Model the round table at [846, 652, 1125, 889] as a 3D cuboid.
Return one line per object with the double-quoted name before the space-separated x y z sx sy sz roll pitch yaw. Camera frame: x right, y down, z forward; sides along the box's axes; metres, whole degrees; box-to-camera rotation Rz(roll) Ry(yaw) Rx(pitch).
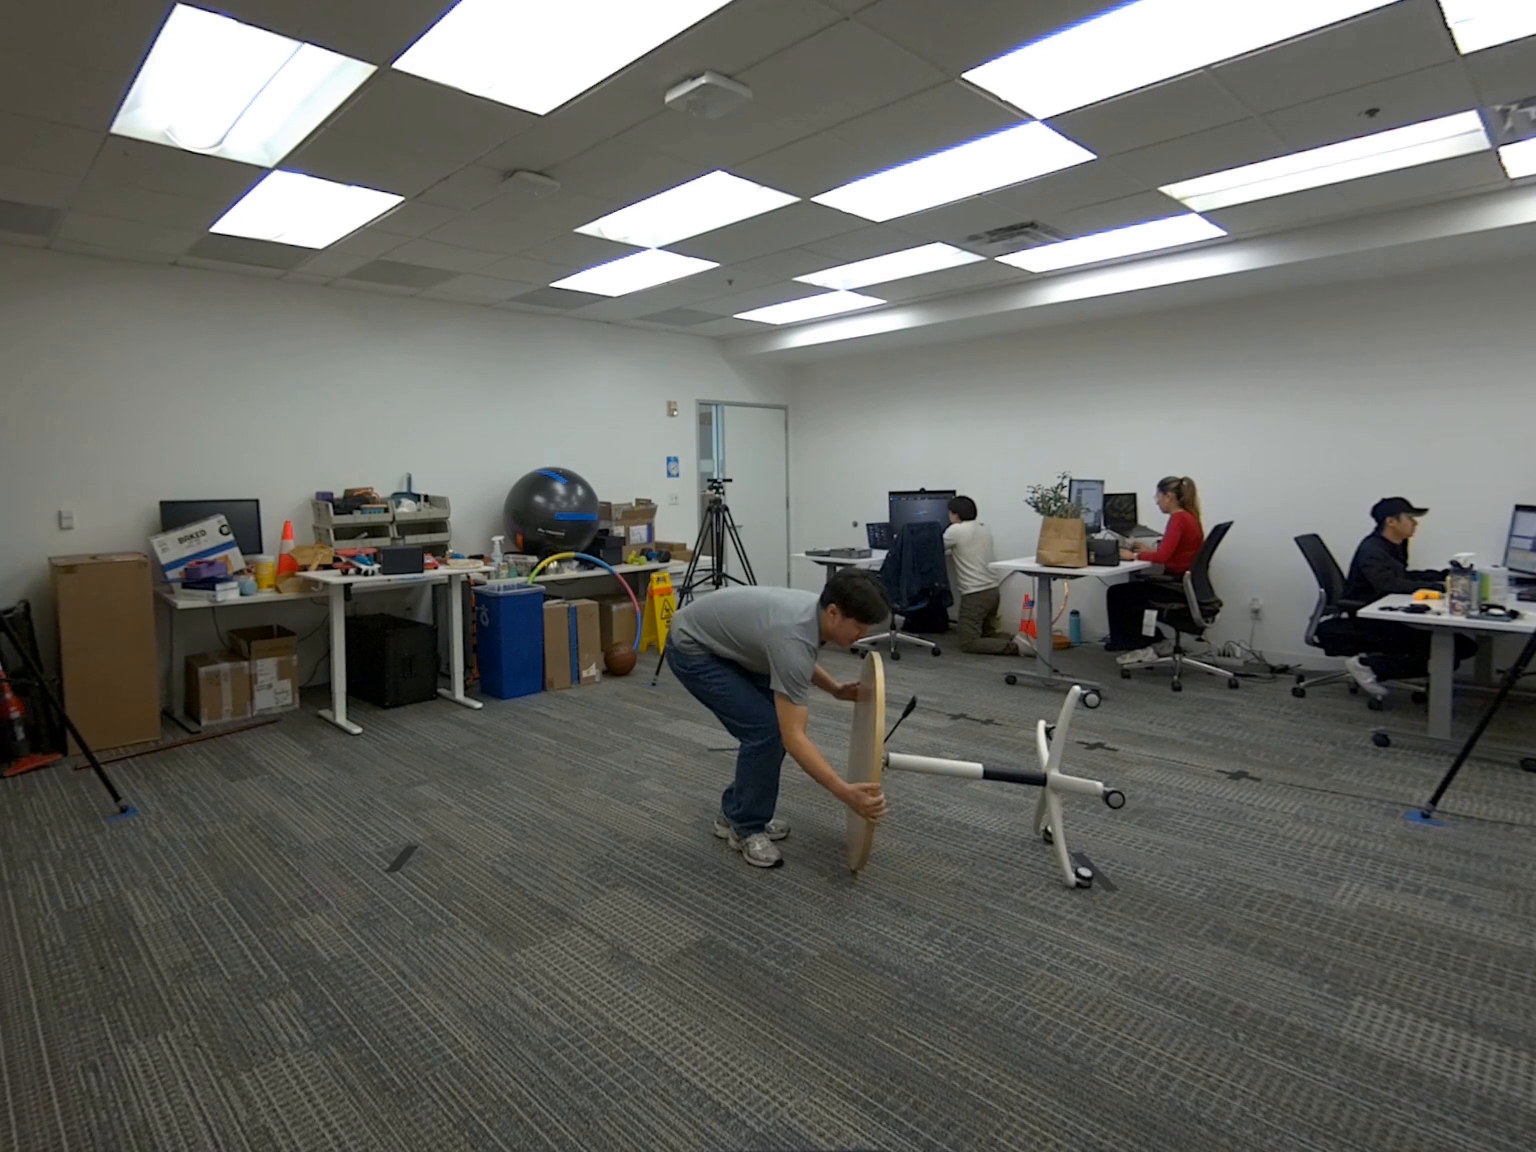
"round table" 0.727 0.689 3.064 0.797 0.761 0.764 5 5 3
